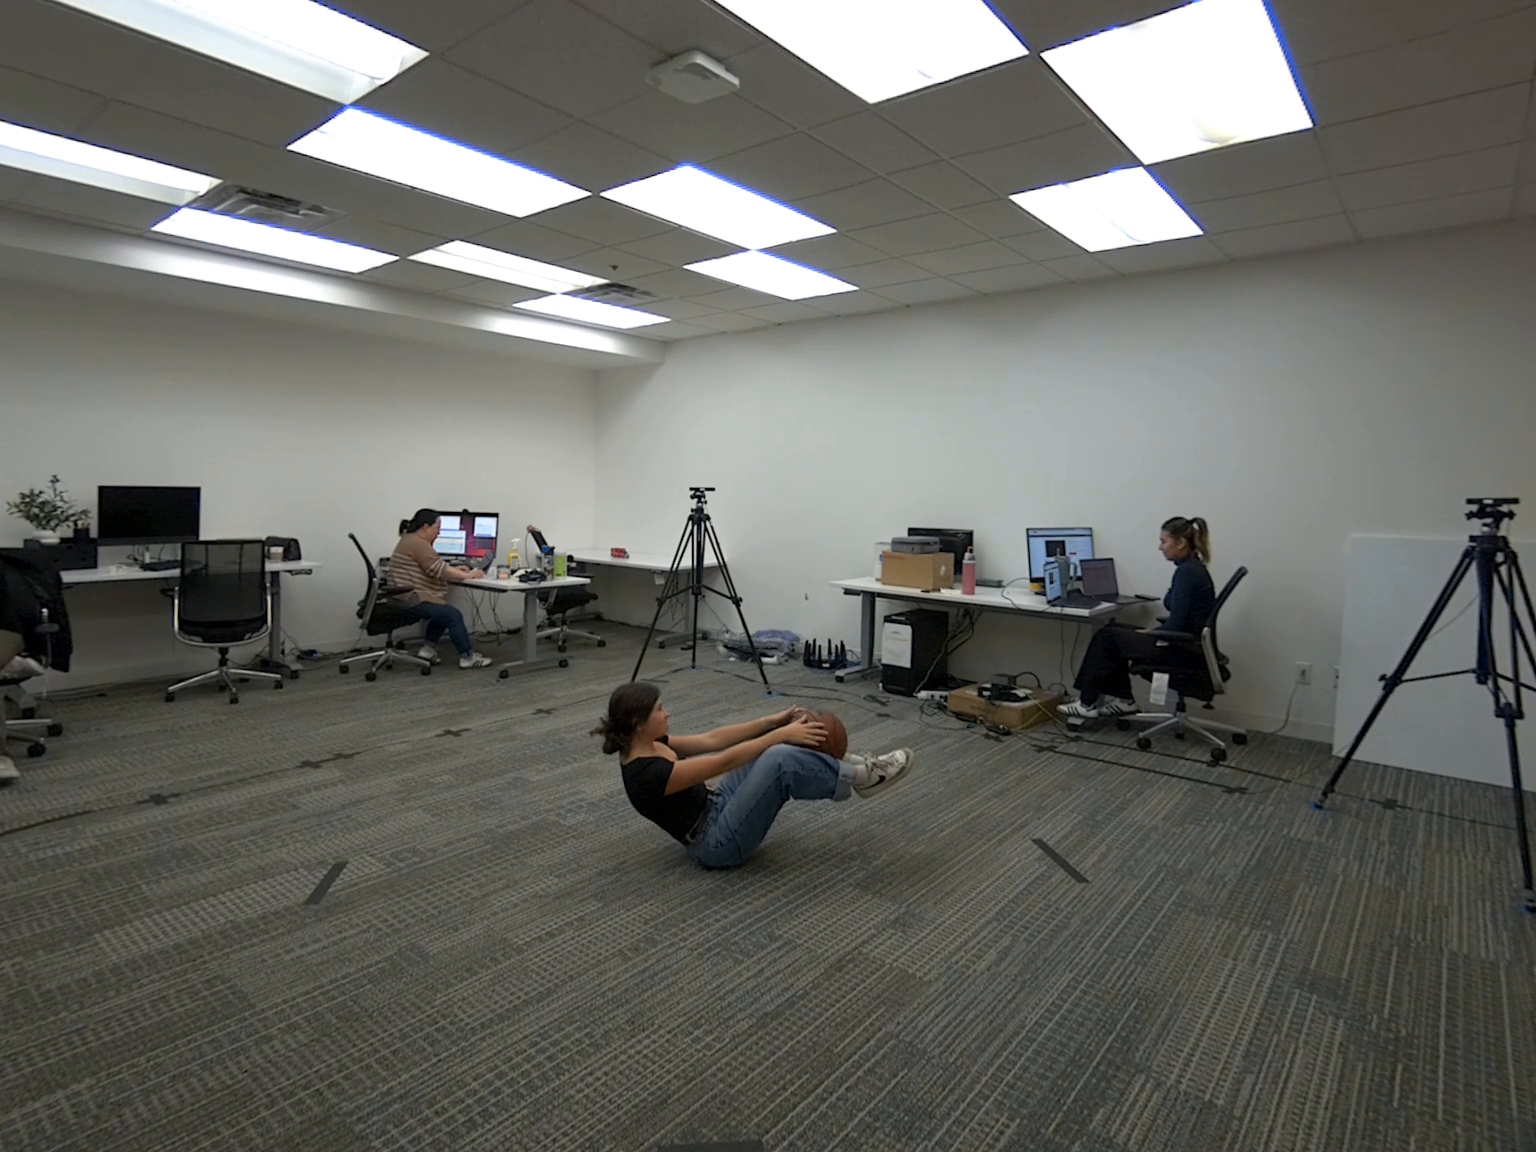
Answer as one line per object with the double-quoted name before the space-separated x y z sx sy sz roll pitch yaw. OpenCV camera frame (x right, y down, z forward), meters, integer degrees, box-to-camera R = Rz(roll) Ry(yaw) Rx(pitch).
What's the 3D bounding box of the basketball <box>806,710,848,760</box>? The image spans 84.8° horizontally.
"basketball" 0.178 0.629 3.252 0.235 0.235 0.237 1 4 -2
